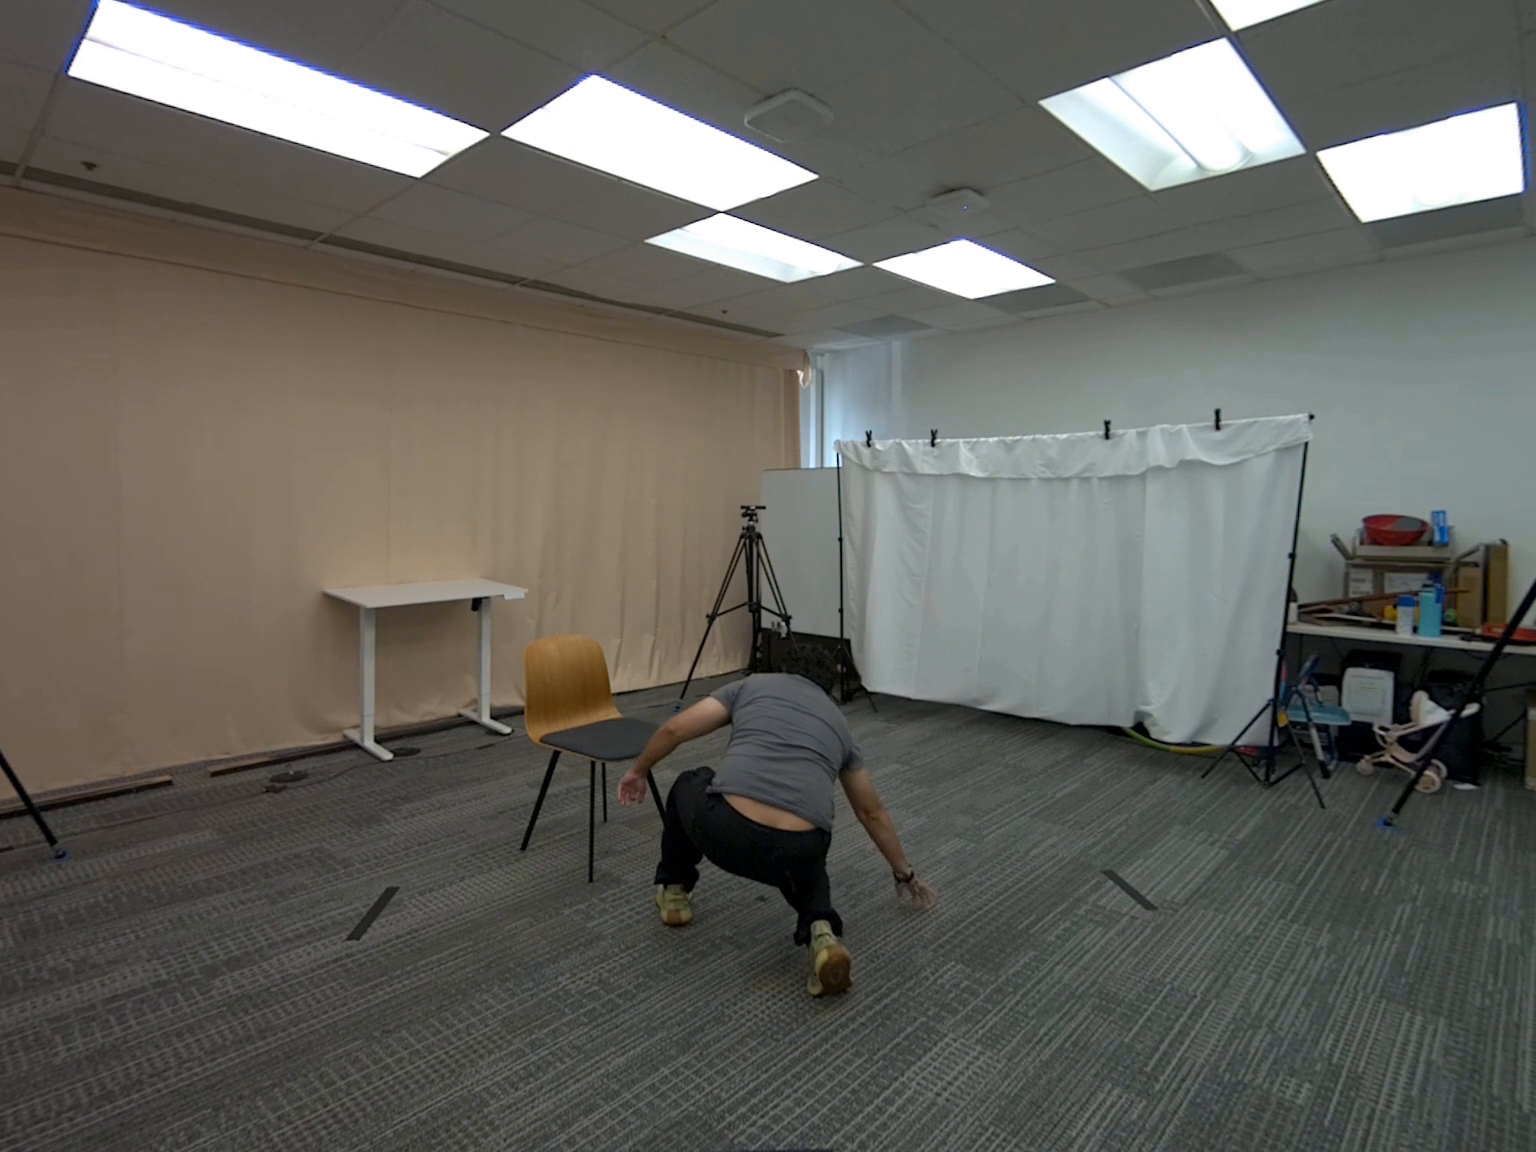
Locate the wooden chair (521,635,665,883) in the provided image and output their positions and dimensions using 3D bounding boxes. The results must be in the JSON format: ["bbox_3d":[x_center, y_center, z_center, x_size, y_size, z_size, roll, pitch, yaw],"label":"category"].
[{"bbox_3d":[-0.687,0.687,3.402,0.539,0.877,0.463,-4,0,42],"label":"wooden chair"}]
